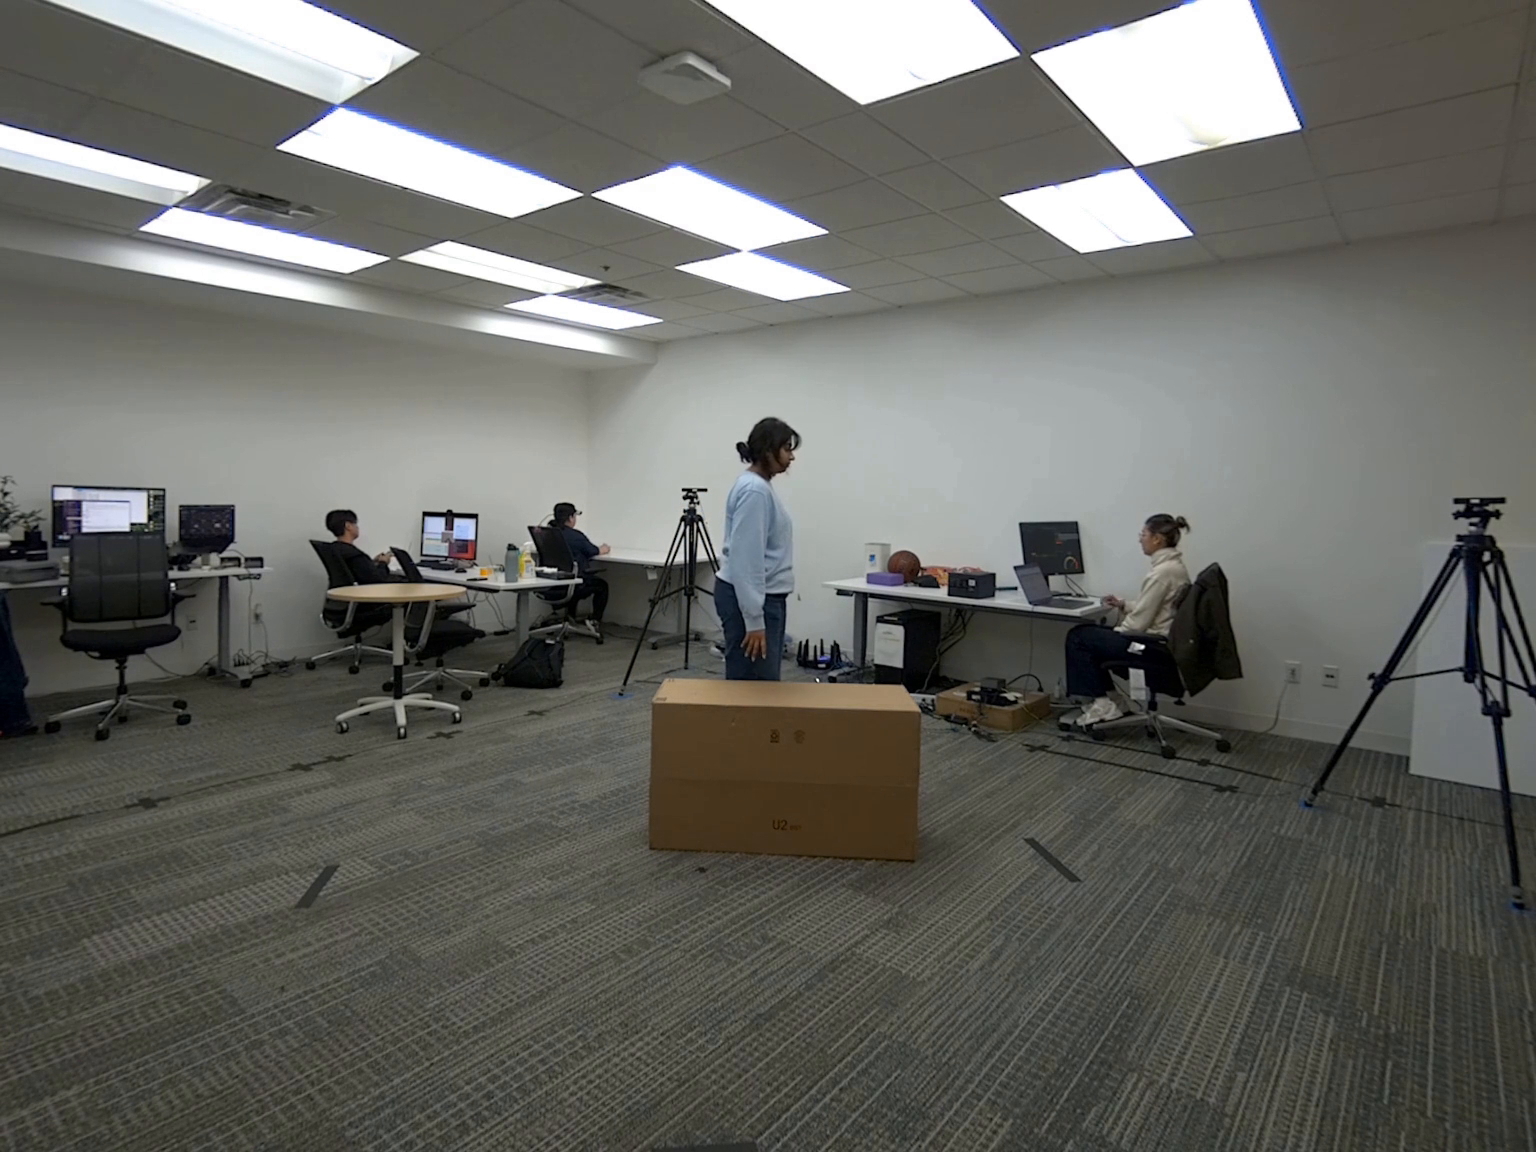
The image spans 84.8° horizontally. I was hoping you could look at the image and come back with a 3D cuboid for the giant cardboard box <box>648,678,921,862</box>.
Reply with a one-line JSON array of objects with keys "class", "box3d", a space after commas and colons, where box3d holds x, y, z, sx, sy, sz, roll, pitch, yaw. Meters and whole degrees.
[{"class": "giant cardboard box", "box3d": [0.051, 0.753, 3.435, 1.030, 0.576, 0.426, 1, 3, 3]}]
